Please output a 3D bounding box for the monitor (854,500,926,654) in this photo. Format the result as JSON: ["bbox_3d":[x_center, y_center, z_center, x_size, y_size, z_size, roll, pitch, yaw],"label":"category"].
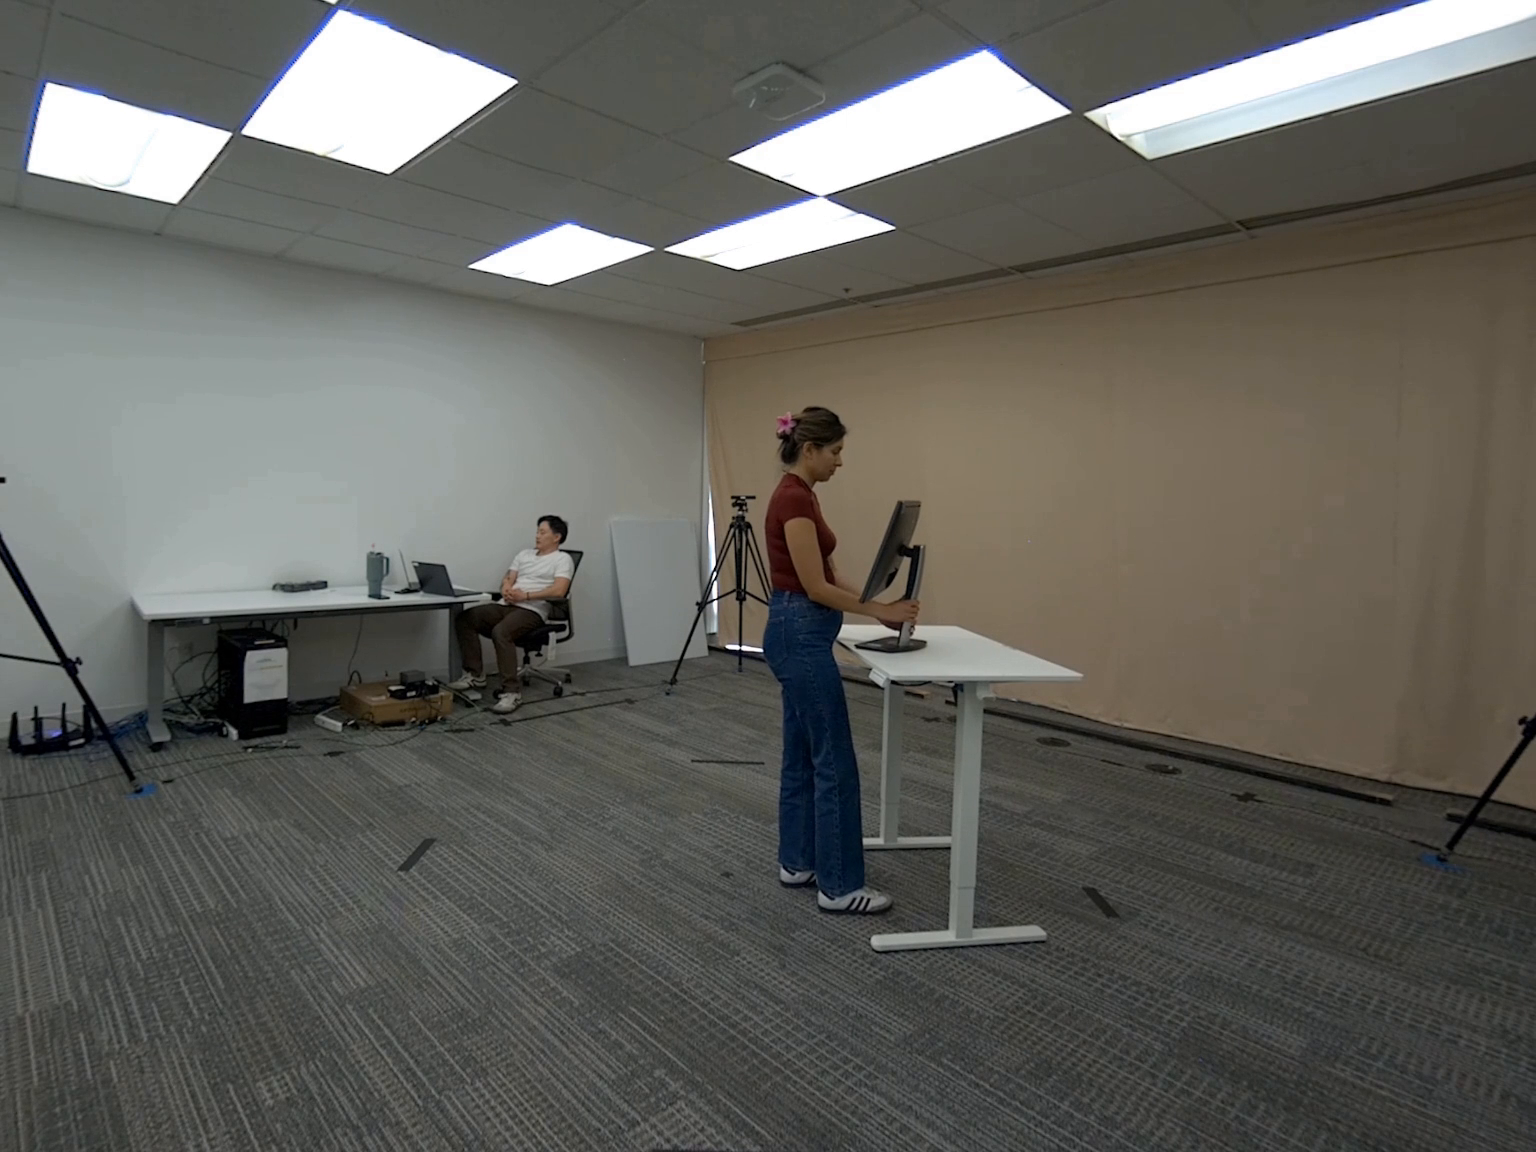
[{"bbox_3d":[0.458,-0.002,2.922,0.189,0.521,0.534,5,6,15],"label":"monitor"}]
